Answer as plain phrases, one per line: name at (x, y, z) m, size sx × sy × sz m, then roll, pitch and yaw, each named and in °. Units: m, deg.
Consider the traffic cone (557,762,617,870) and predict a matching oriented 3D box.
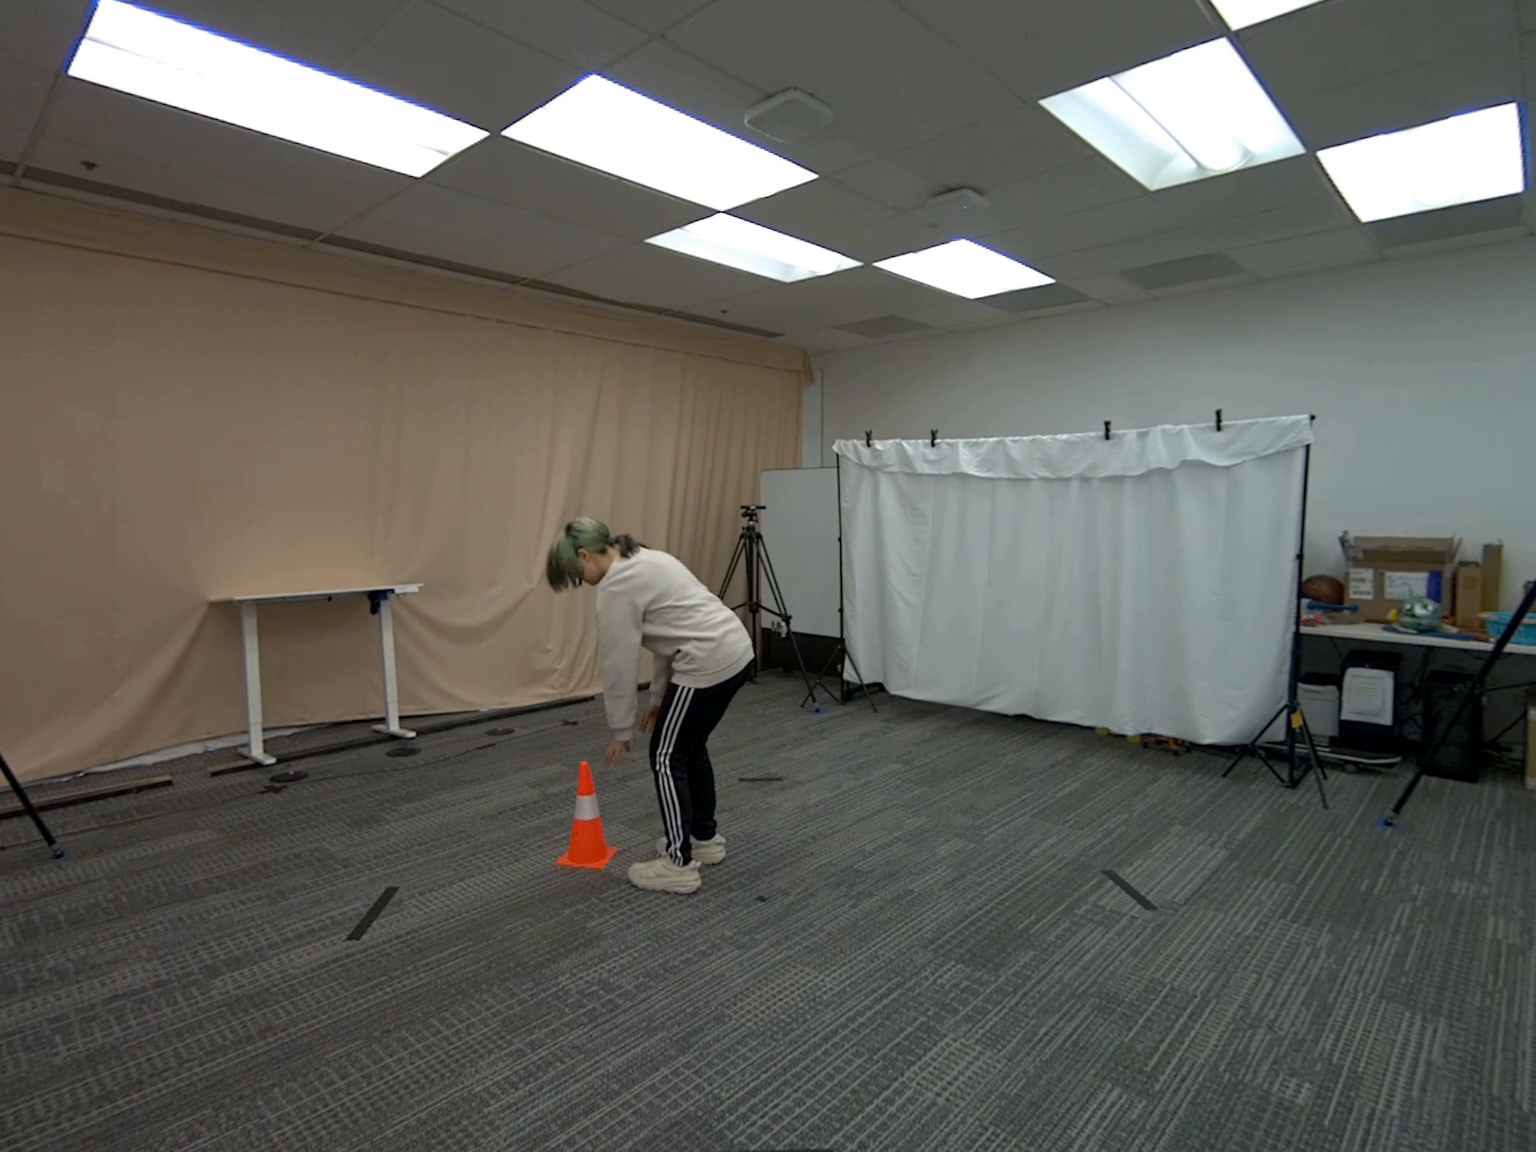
traffic cone at (-0.719, 0.936, 3.346) m, size 0.206 × 0.382 × 0.202 m, roll 0°, pitch 4°, yaw 5°
